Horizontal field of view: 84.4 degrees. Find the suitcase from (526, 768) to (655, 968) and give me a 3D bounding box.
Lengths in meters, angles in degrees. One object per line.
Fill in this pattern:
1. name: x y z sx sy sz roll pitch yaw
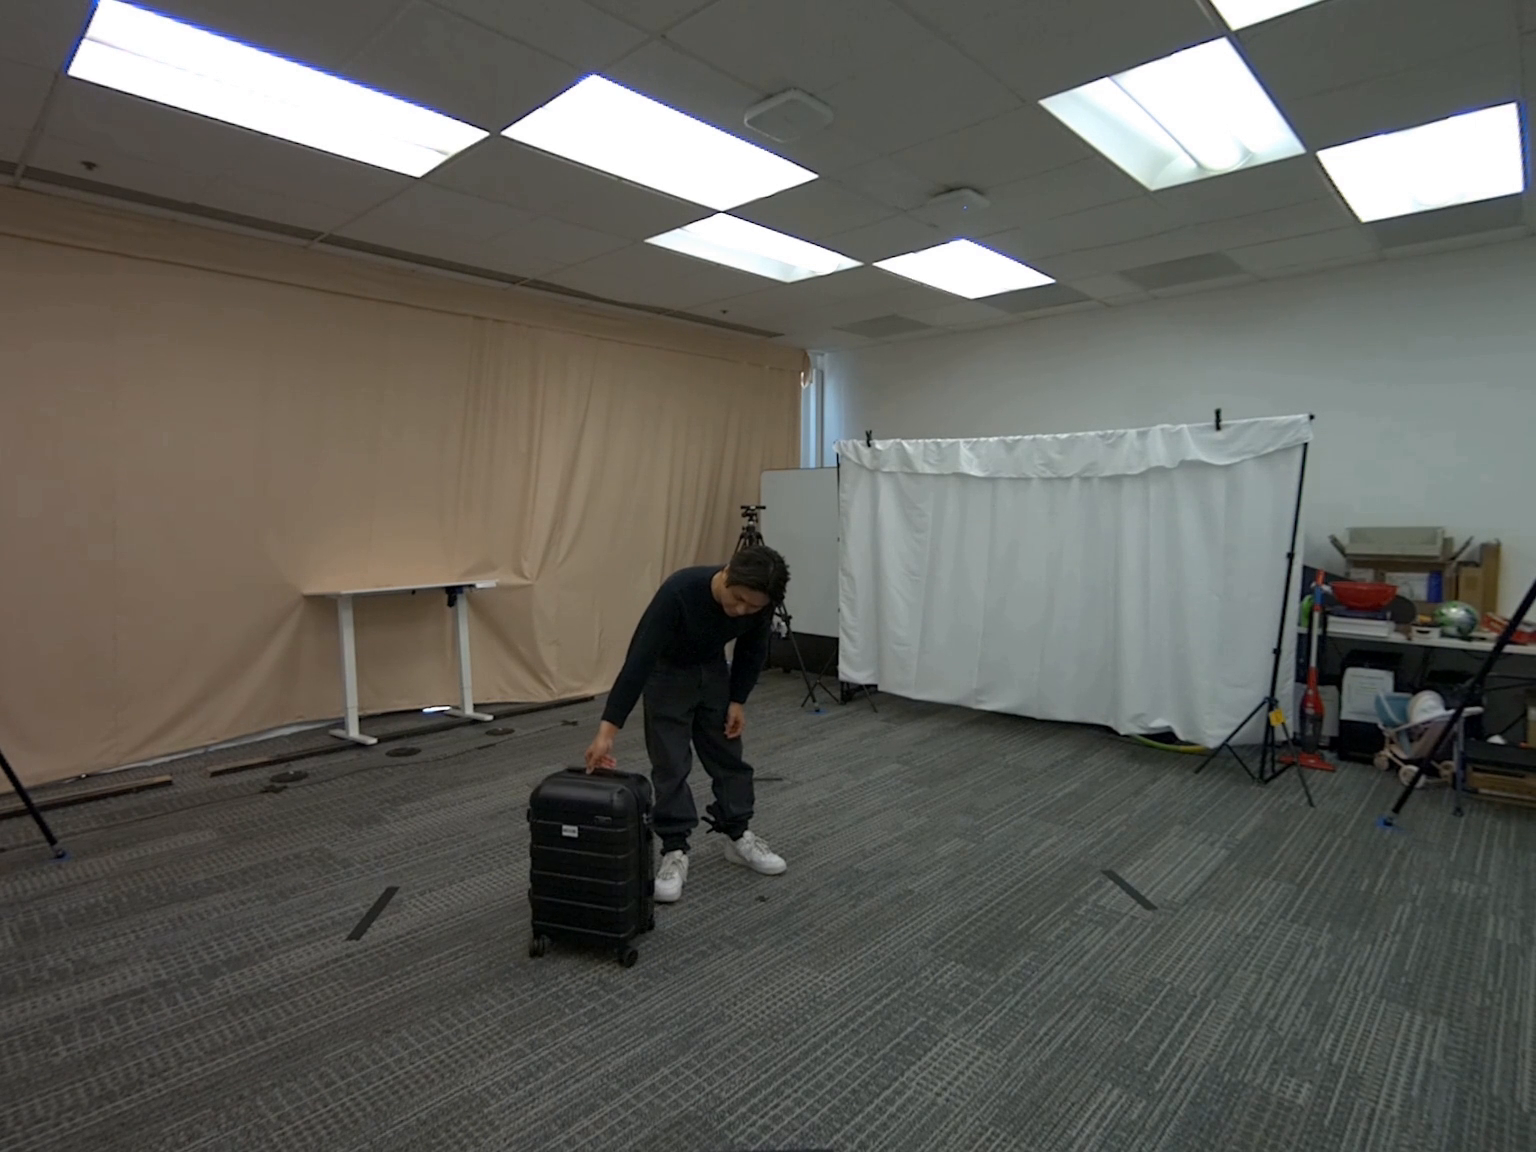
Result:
1. suitcase: -0.562 0.897 2.669 0.382 0.549 0.244 1 2 17
